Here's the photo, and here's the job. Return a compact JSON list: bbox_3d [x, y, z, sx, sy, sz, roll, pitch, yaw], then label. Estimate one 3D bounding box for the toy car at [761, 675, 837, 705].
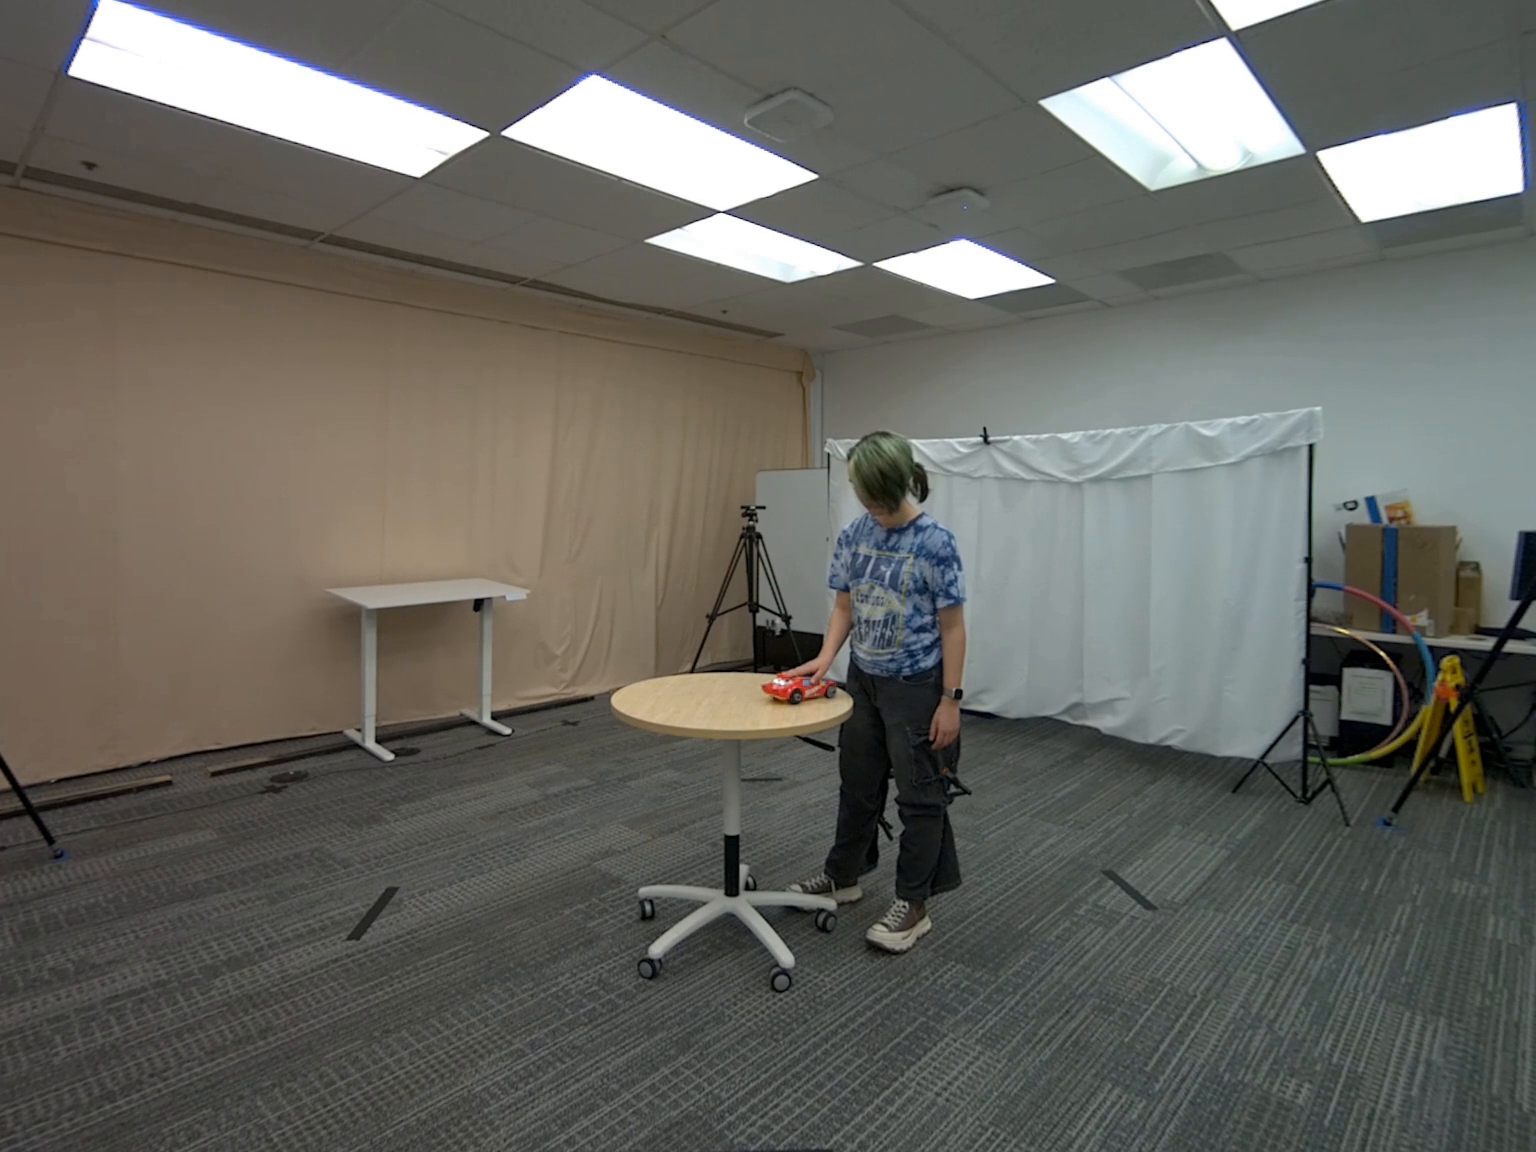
[{"bbox_3d":[0.100,0.361,2.658,0.246,0.083,0.134,11,-2,-35],"label":"toy car"}]
